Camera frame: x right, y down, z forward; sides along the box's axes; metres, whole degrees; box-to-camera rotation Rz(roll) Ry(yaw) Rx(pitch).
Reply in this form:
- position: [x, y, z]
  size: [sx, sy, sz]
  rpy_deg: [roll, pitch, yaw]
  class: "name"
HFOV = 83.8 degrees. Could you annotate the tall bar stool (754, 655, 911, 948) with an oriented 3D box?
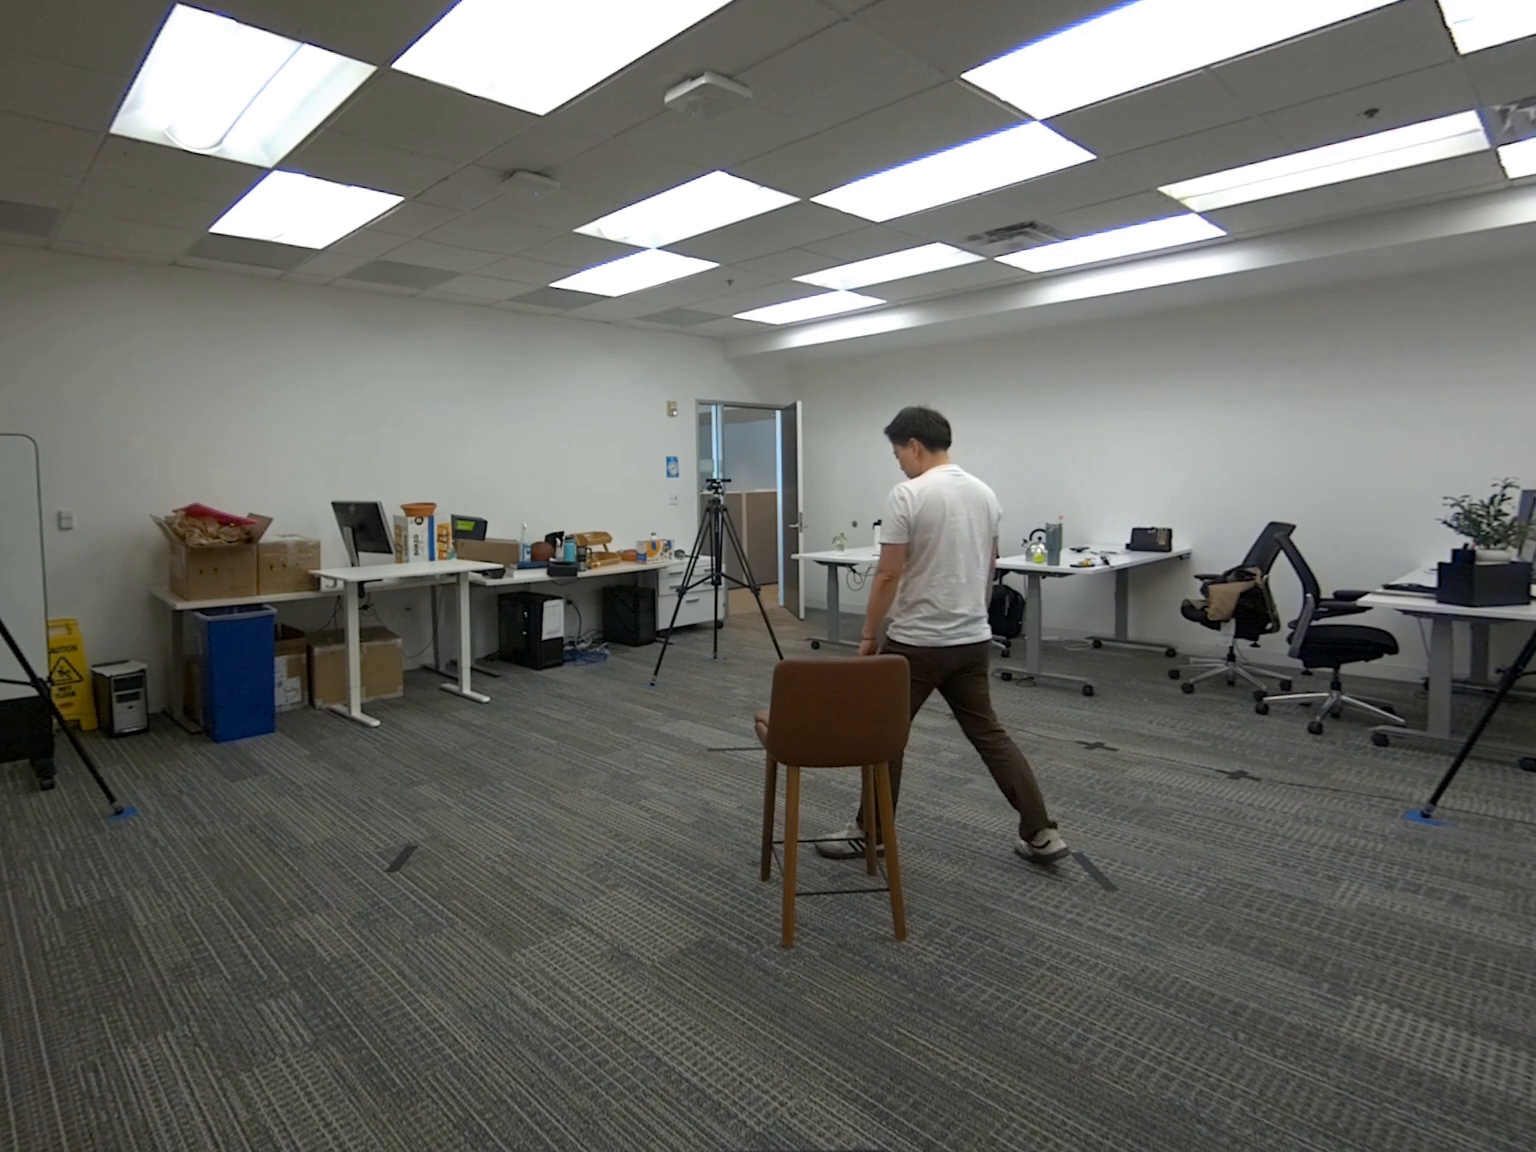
- position: [0.197, 0.648, 2.746]
  size: [0.454, 0.885, 0.473]
  rpy_deg: [-1, 6, -6]
  class: "tall bar stool"
